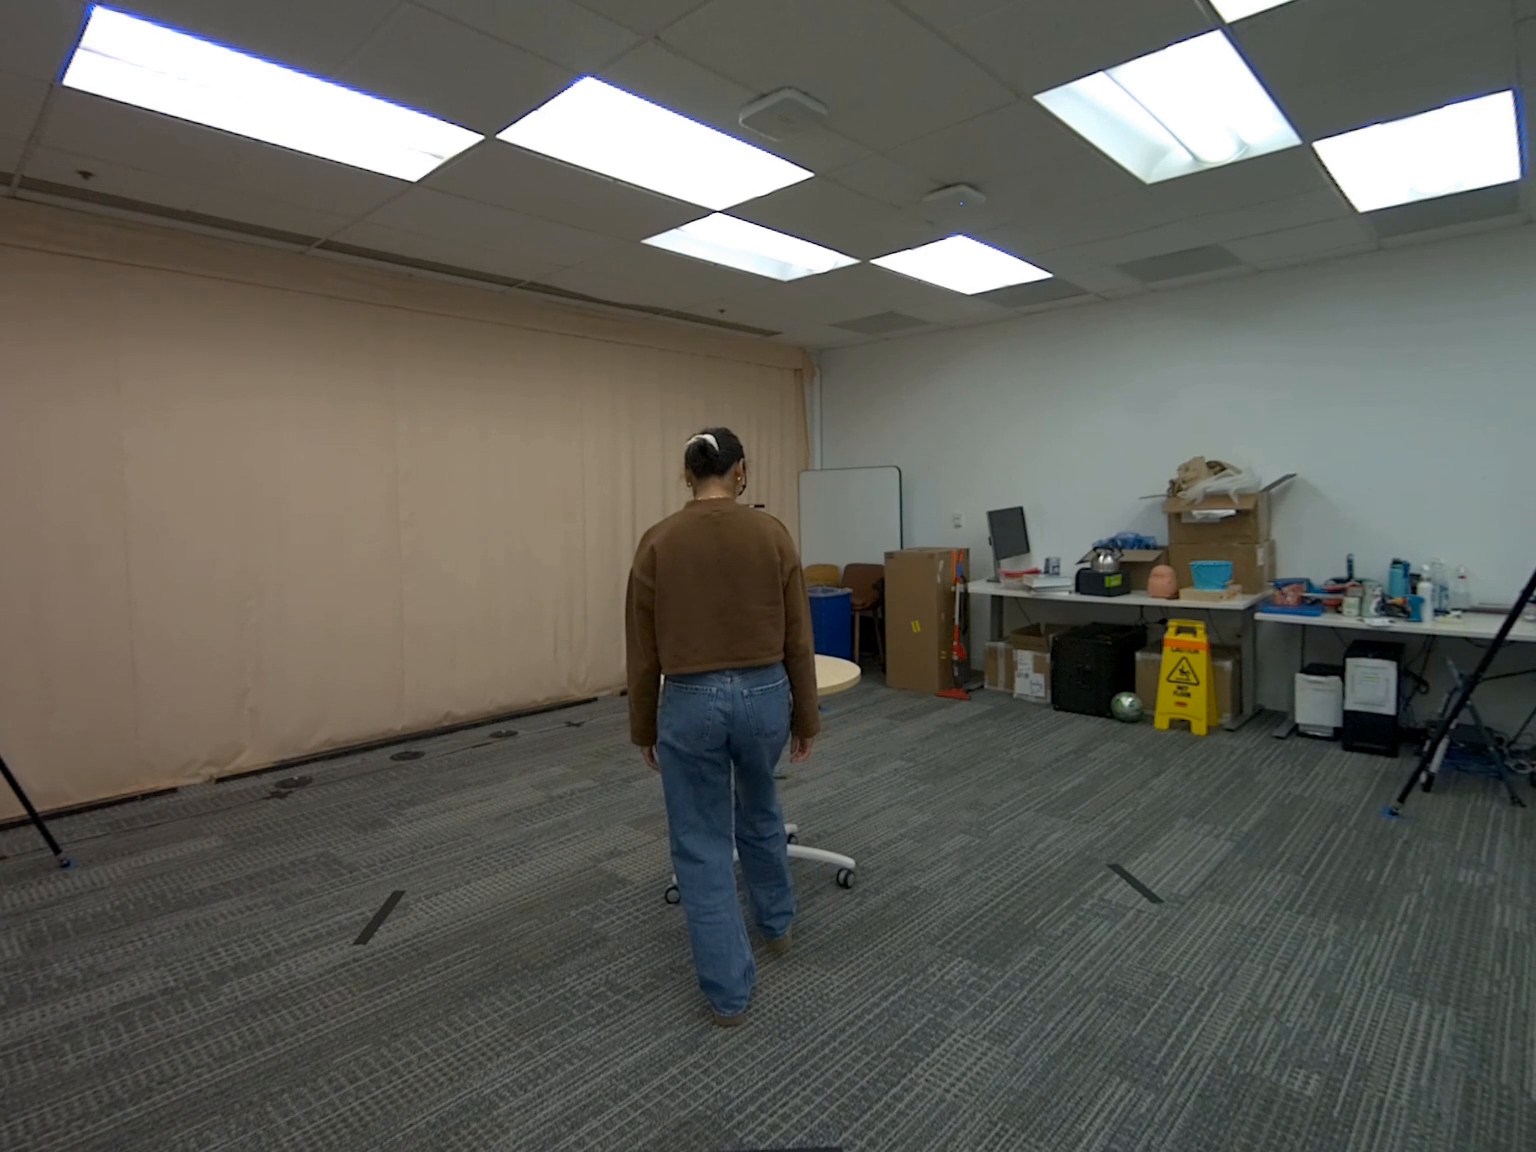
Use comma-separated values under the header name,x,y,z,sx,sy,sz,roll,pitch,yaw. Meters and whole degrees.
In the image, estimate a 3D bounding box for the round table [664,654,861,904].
name,x,y,z,sx,sy,sz,roll,pitch,yaw
round table,-0.044,0.738,3.103,0.763,0.792,0.767,-2,4,-2
